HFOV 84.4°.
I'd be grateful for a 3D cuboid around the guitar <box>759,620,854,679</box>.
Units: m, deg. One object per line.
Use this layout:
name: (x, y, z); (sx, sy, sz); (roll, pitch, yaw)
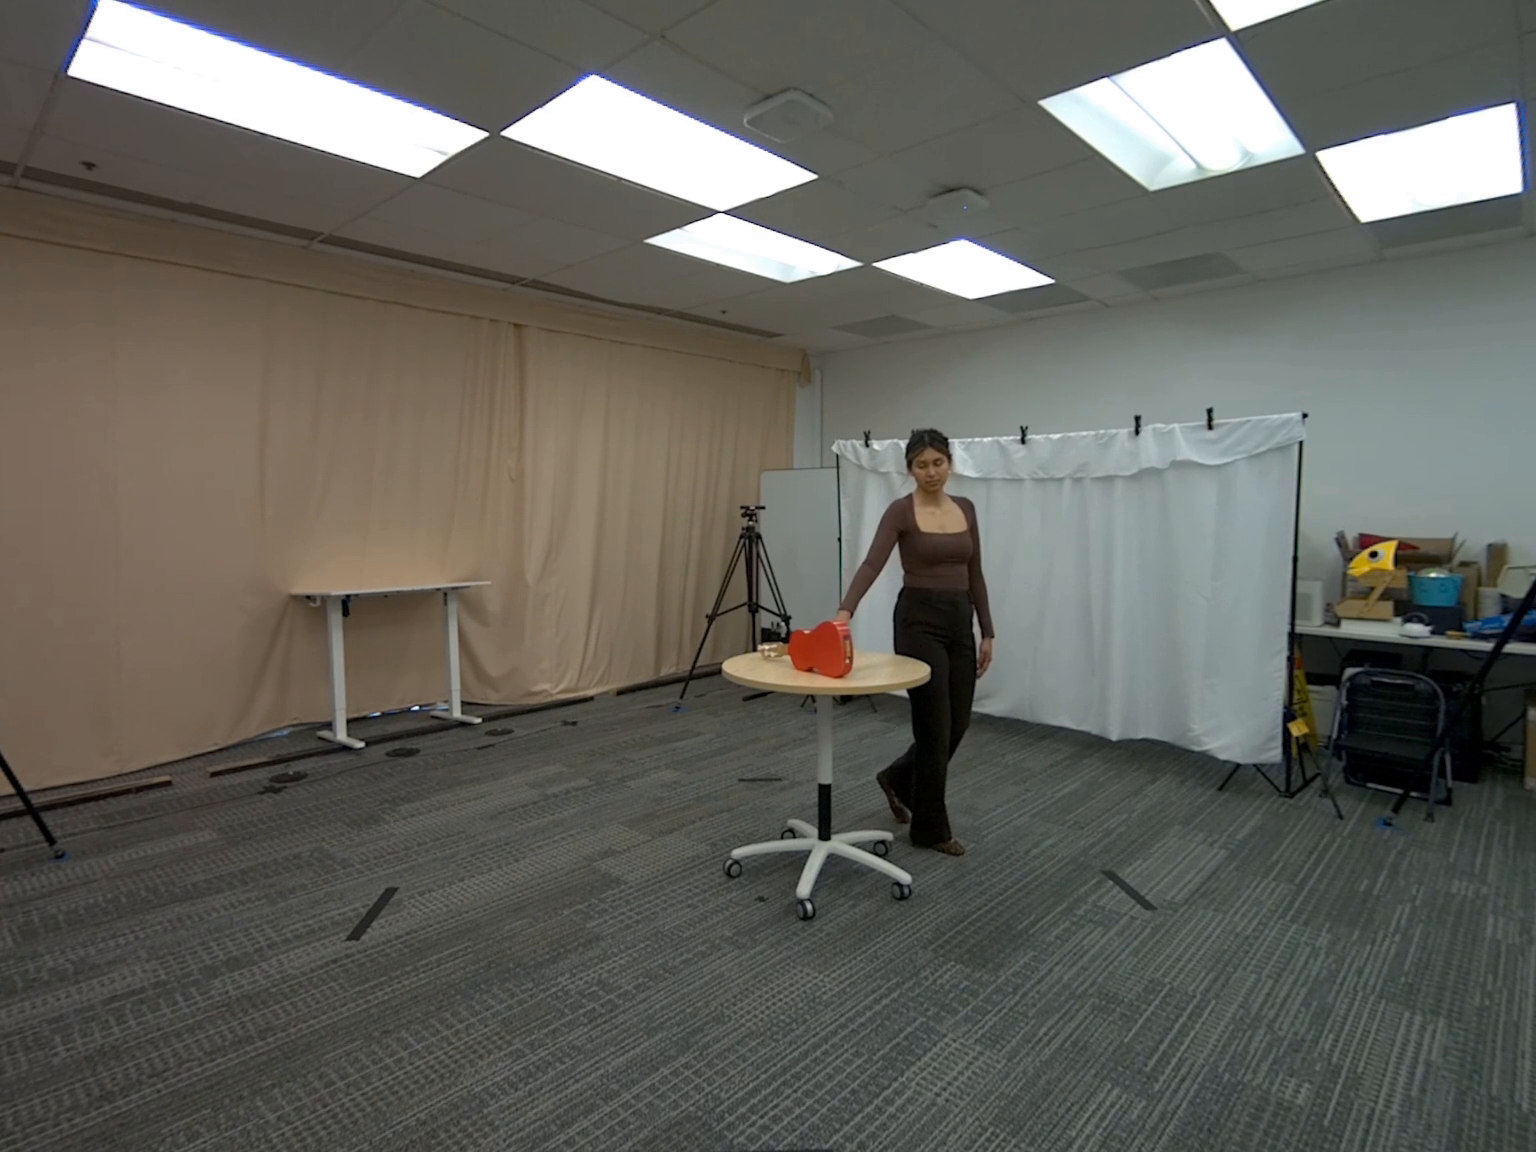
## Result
guitar: (0.128, 0.298, 3.076); (0.068, 0.195, 0.508); (-2, -13, -37)
